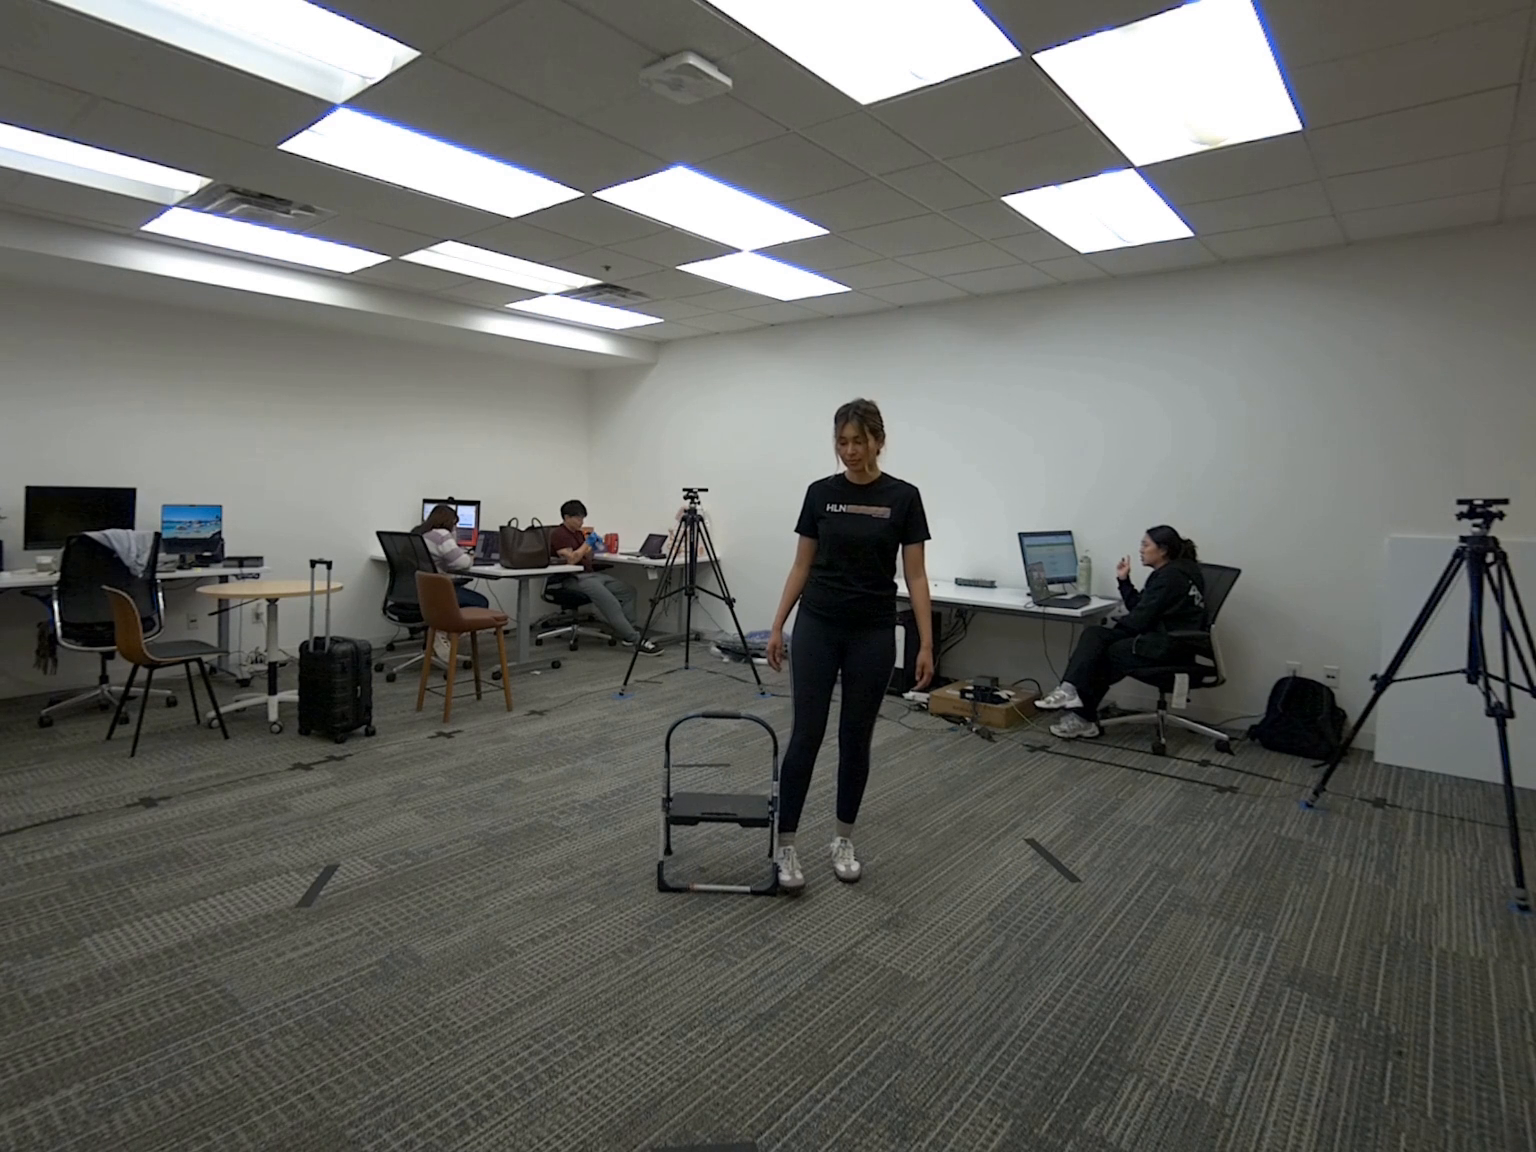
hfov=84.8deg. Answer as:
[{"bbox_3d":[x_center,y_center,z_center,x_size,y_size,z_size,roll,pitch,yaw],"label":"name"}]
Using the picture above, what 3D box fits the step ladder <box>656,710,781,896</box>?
[{"bbox_3d":[-0.187,0.774,3.074,0.431,0.605,0.349,1,2,0],"label":"step ladder"}]
